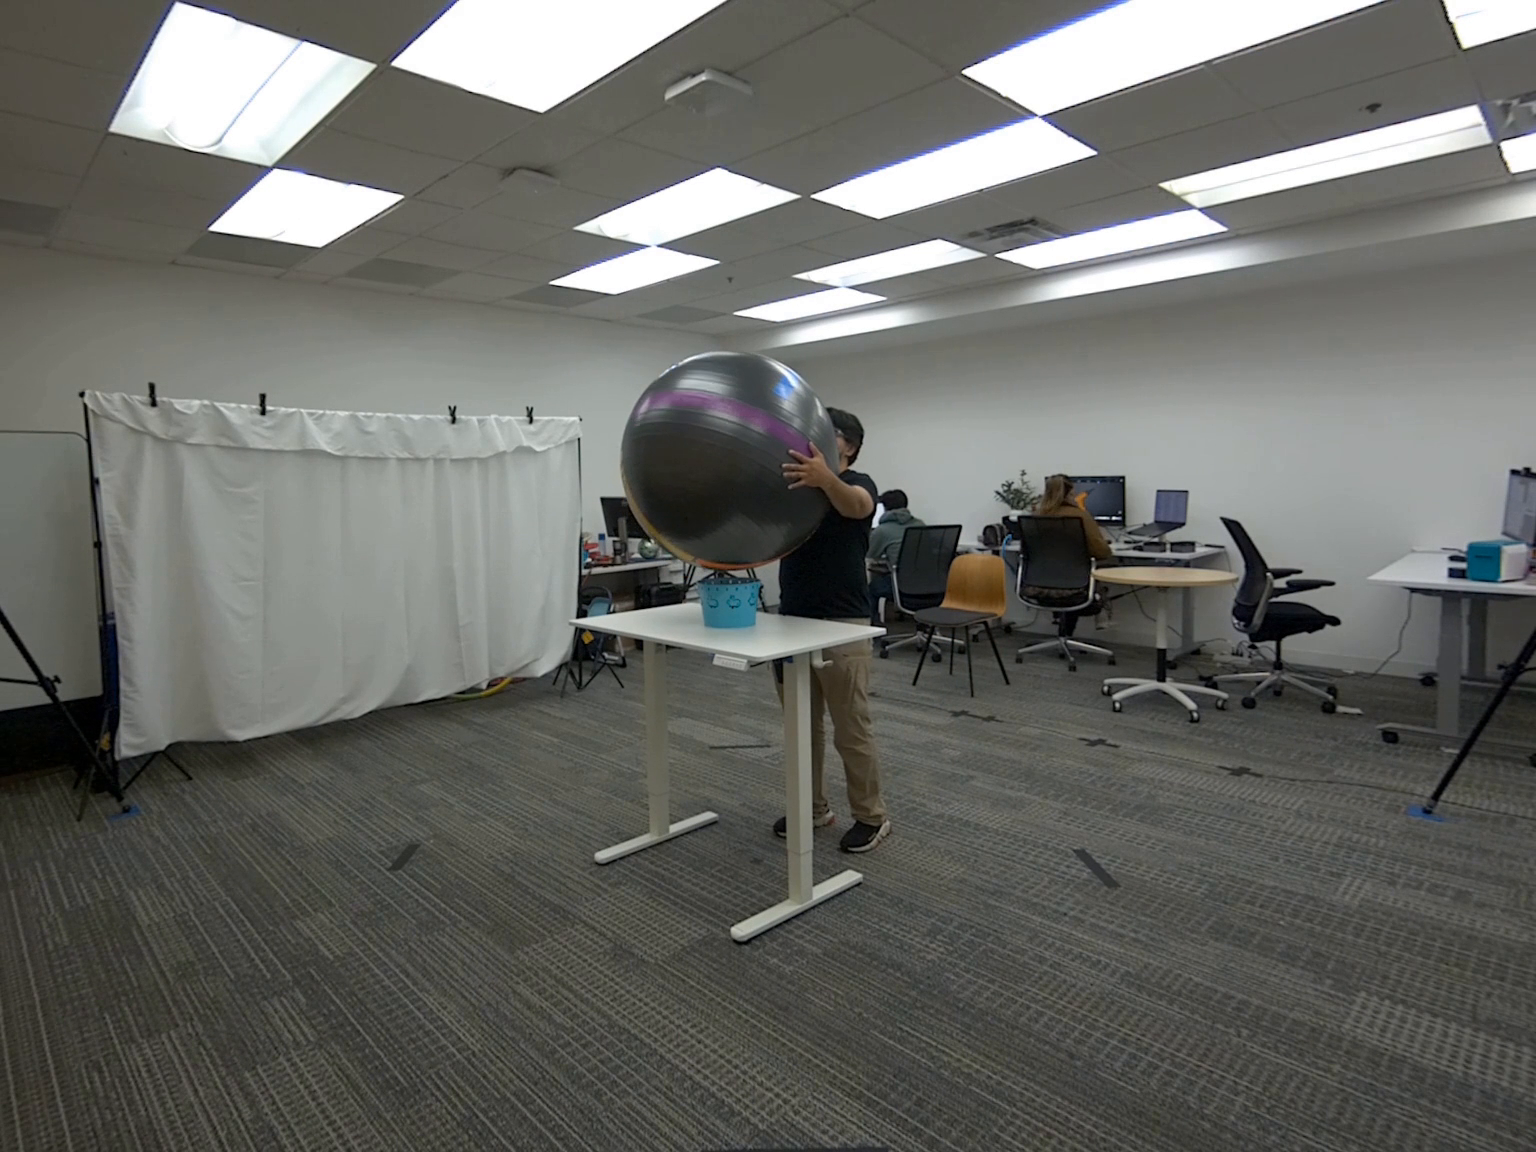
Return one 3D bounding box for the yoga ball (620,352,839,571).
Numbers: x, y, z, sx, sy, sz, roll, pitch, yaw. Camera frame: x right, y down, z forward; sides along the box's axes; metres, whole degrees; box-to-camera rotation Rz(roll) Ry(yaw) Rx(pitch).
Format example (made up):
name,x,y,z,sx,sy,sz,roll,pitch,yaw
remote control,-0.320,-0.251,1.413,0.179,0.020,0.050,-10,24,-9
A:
name,x,y,z,sx,sy,sz,roll,pitch,yaw
yoga ball,-0.143,-0.389,2.975,0.757,0.755,0.762,-1,5,-2
